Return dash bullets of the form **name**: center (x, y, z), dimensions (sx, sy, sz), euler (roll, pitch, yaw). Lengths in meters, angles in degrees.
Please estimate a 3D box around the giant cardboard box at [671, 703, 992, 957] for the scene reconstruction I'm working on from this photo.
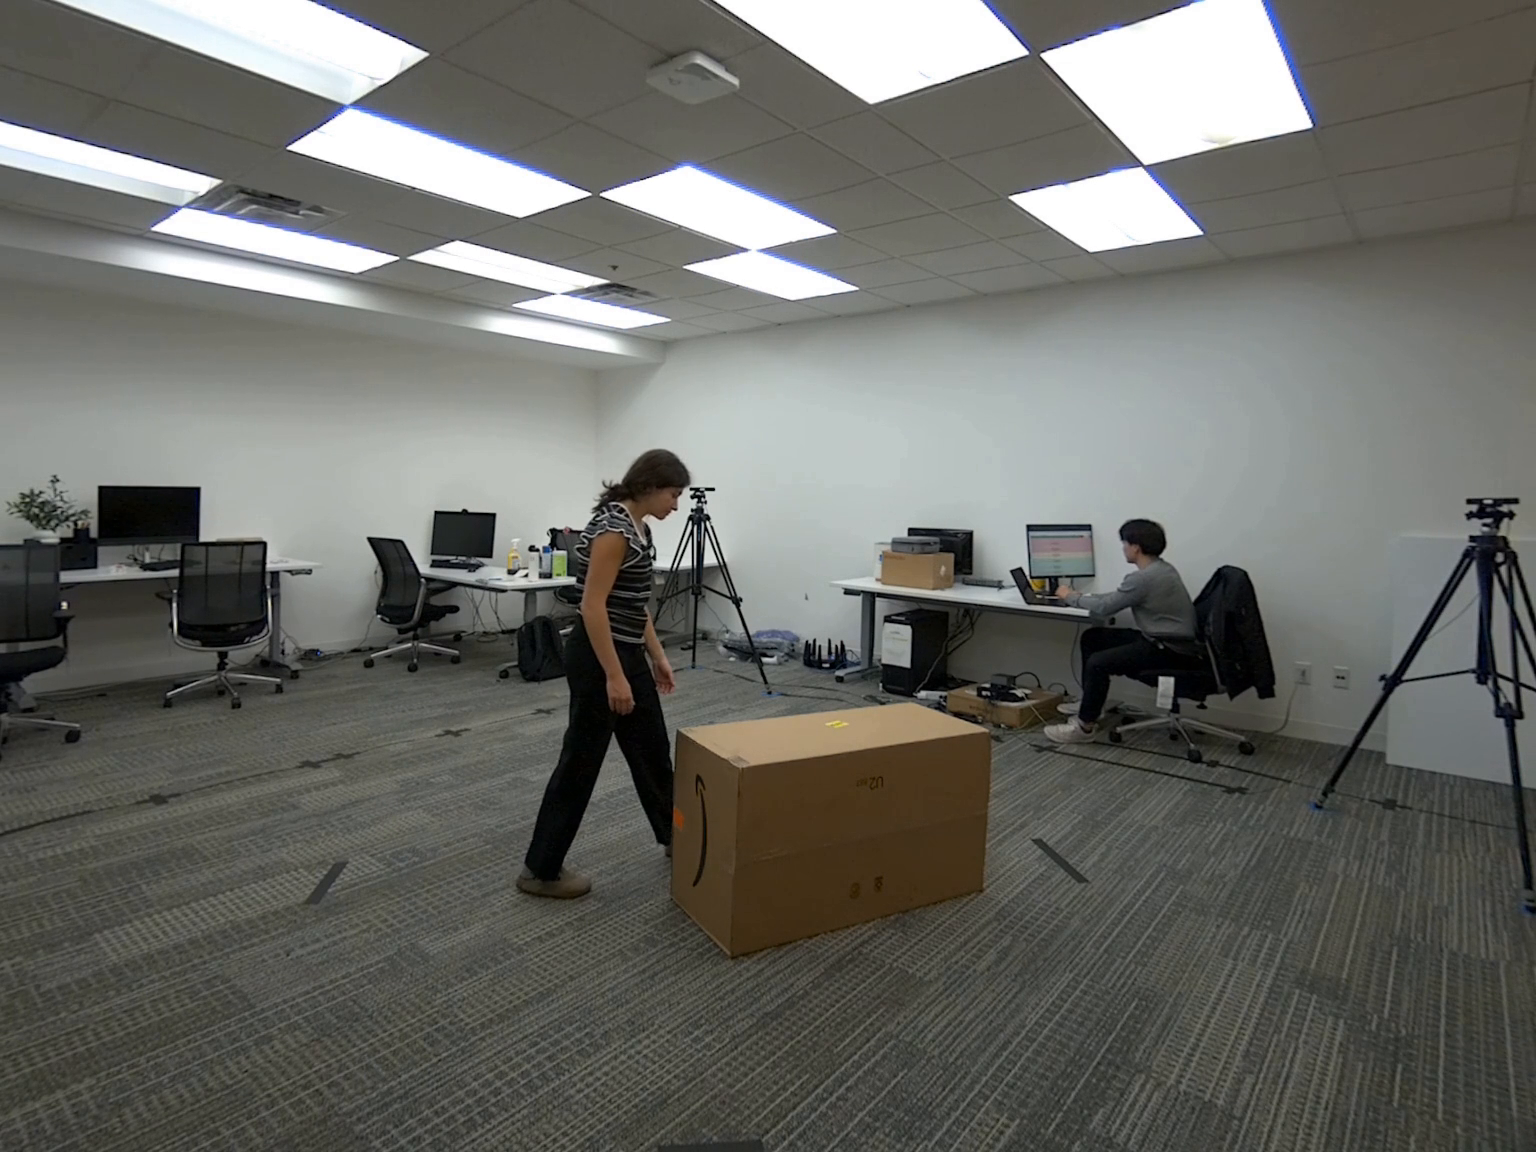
- **giant cardboard box**: center (0.221, 0.810, 2.912), dimensions (0.999, 0.575, 0.439), euler (-1, 5, -28)
